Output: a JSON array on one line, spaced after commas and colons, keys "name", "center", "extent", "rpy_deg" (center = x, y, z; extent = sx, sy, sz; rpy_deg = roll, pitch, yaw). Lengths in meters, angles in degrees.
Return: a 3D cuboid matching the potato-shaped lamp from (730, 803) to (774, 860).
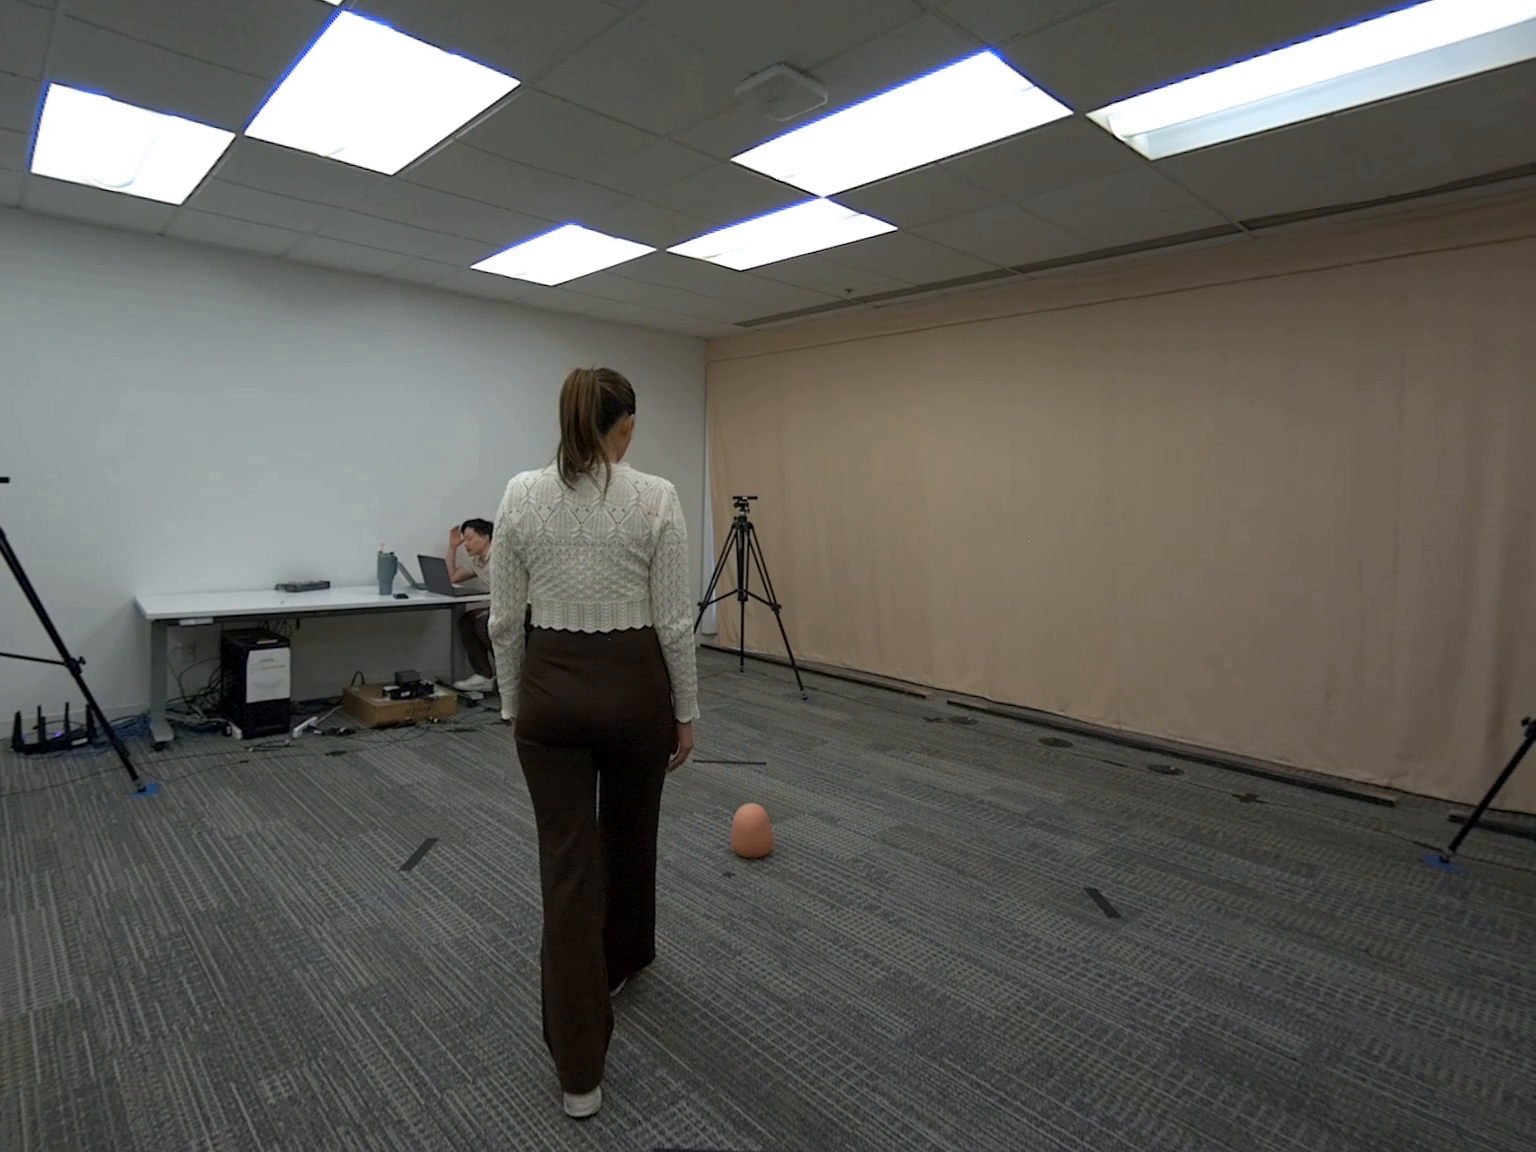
[{"name": "potato-shaped lamp", "center": [-0.073, 0.988, 3.289], "extent": [0.168, 0.197, 0.168], "rpy_deg": [6, 8, 28]}]
